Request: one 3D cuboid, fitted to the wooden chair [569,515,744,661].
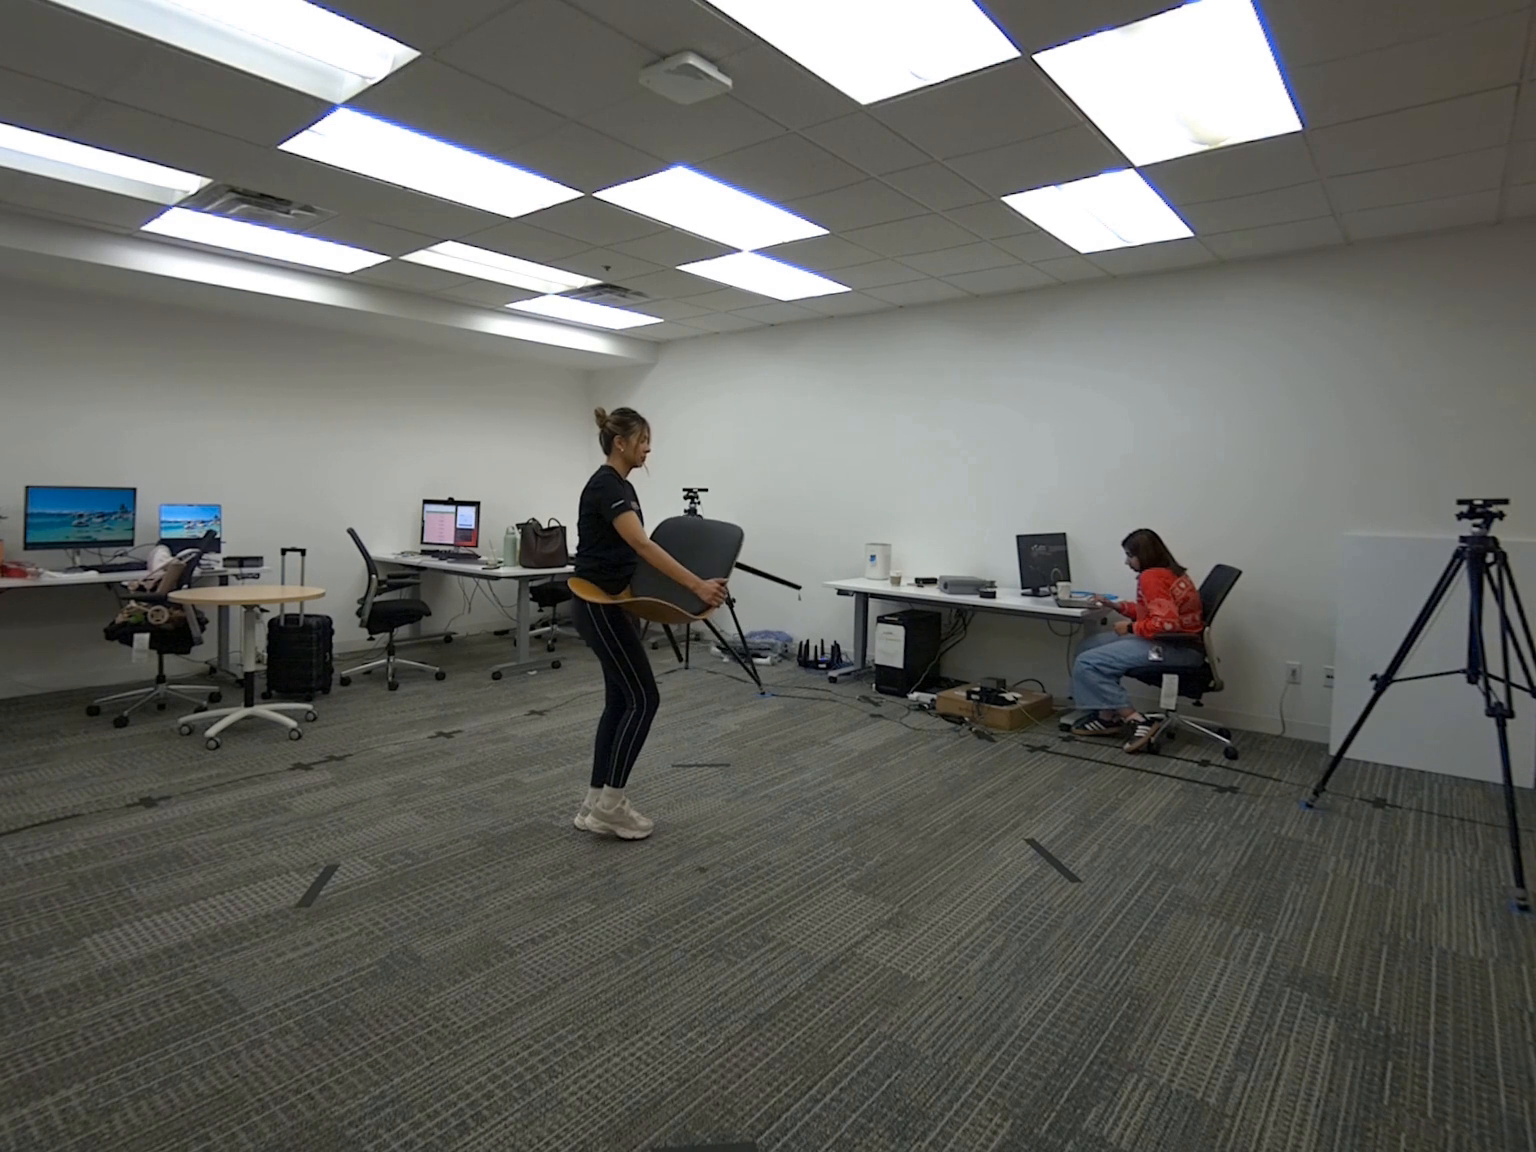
[{"bbox_3d":[-0.320,0.014,3.339,0.495,0.527,0.841,11,-17,37],"label":"wooden chair"}]
